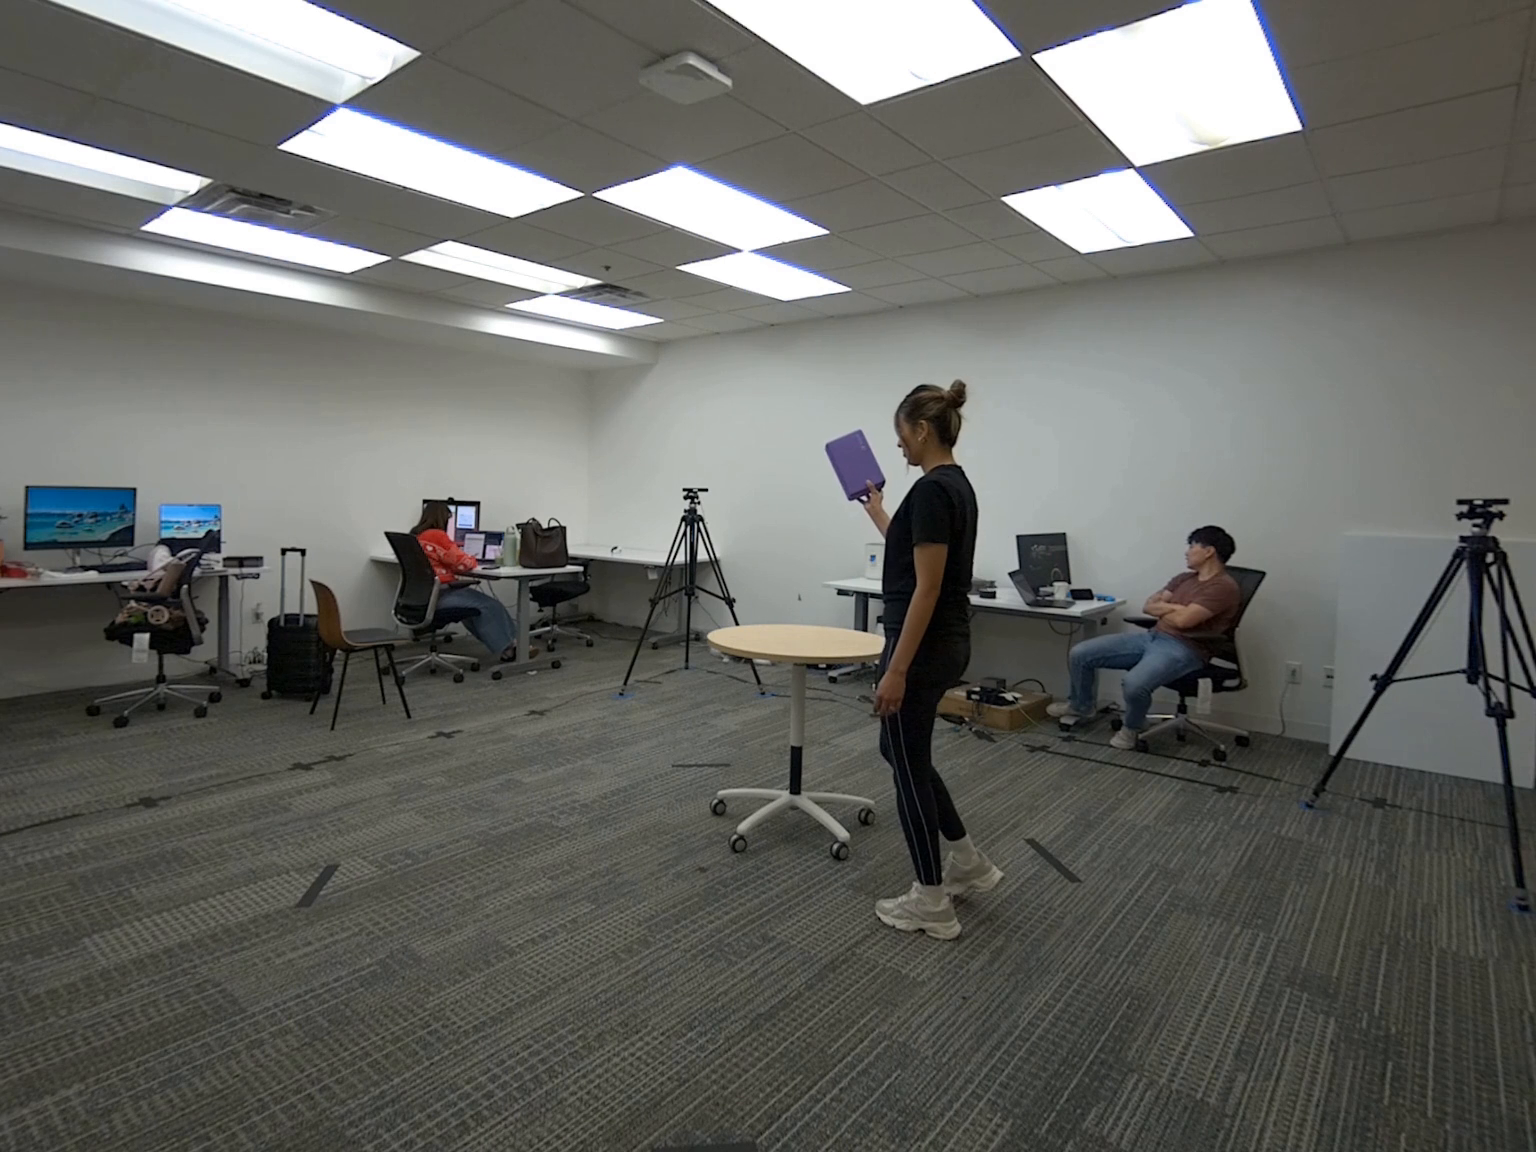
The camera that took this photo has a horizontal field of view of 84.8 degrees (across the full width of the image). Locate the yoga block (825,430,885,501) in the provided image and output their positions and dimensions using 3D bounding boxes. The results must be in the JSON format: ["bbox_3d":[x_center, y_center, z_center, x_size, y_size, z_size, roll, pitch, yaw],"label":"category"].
[{"bbox_3d":[0.319,-0.419,3.163,0.149,0.233,0.075,-23,-13,-1],"label":"yoga block"}]
